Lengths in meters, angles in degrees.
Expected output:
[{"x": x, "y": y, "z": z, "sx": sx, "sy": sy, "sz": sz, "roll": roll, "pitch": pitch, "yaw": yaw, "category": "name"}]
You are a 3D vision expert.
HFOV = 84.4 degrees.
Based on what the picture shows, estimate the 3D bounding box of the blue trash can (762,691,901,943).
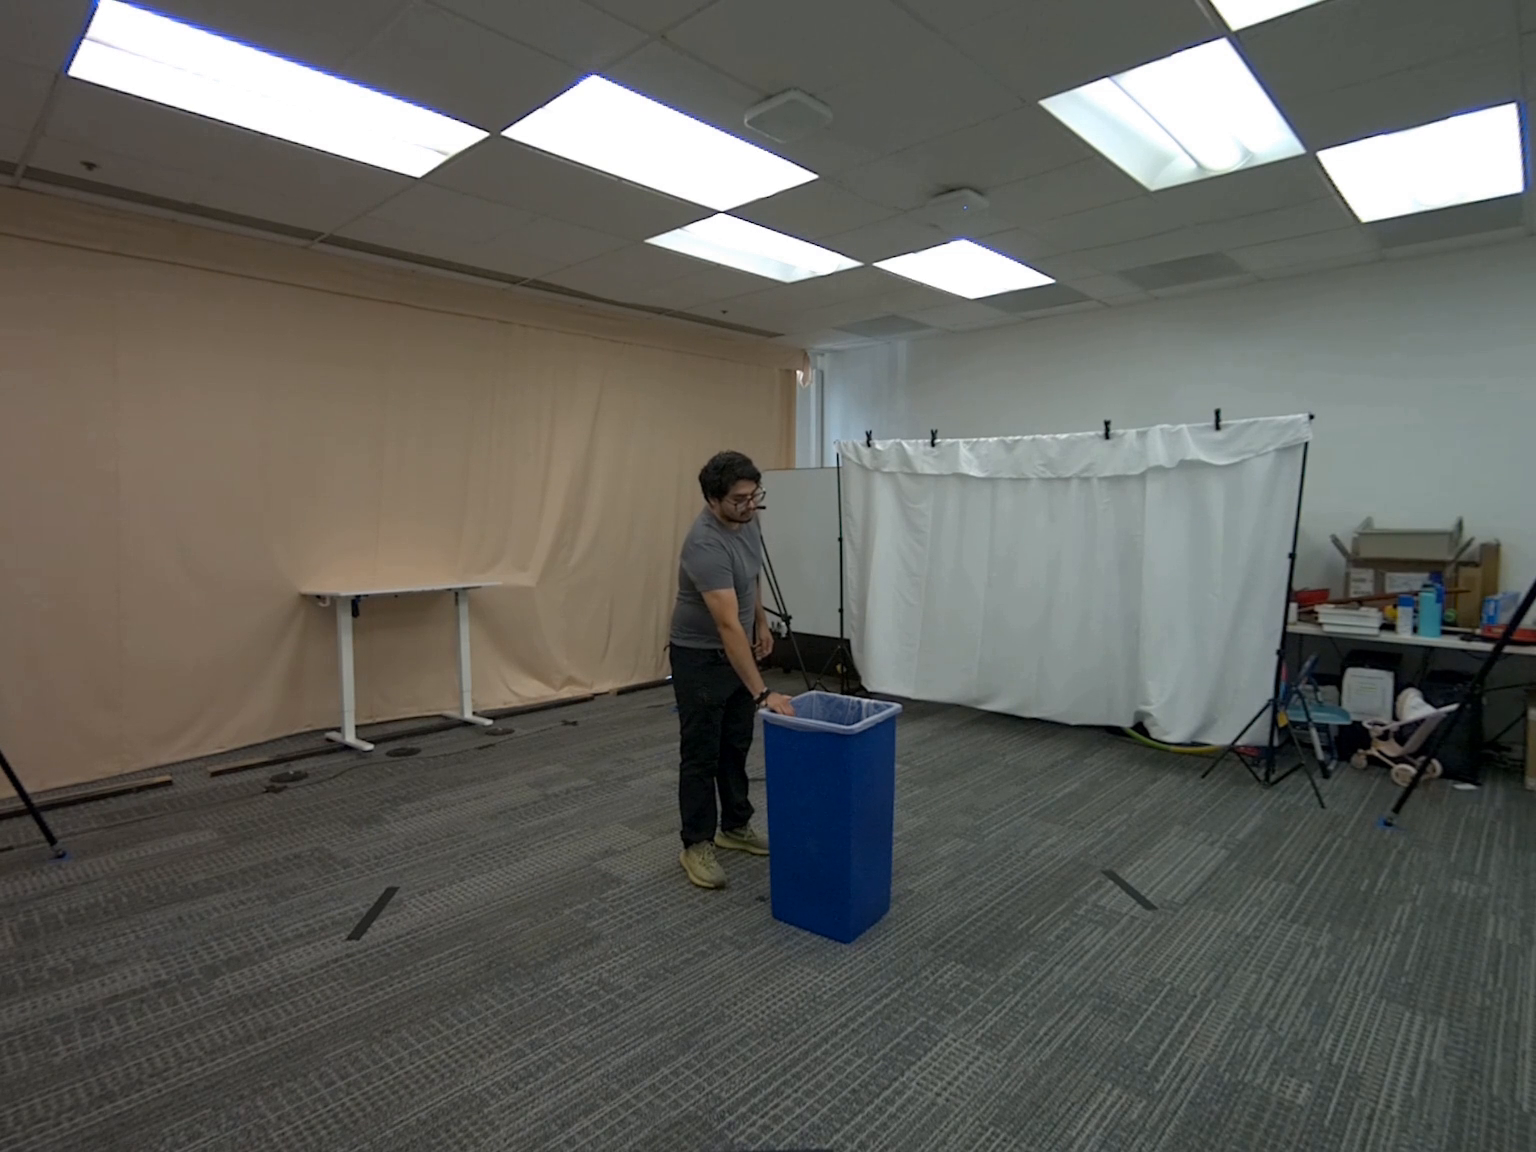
[{"x": 0.216, "y": 0.796, "z": 2.843, "sx": 0.390, "sy": 0.712, "sz": 0.363, "roll": 2, "pitch": 4, "yaw": 37, "category": "blue trash can"}]
